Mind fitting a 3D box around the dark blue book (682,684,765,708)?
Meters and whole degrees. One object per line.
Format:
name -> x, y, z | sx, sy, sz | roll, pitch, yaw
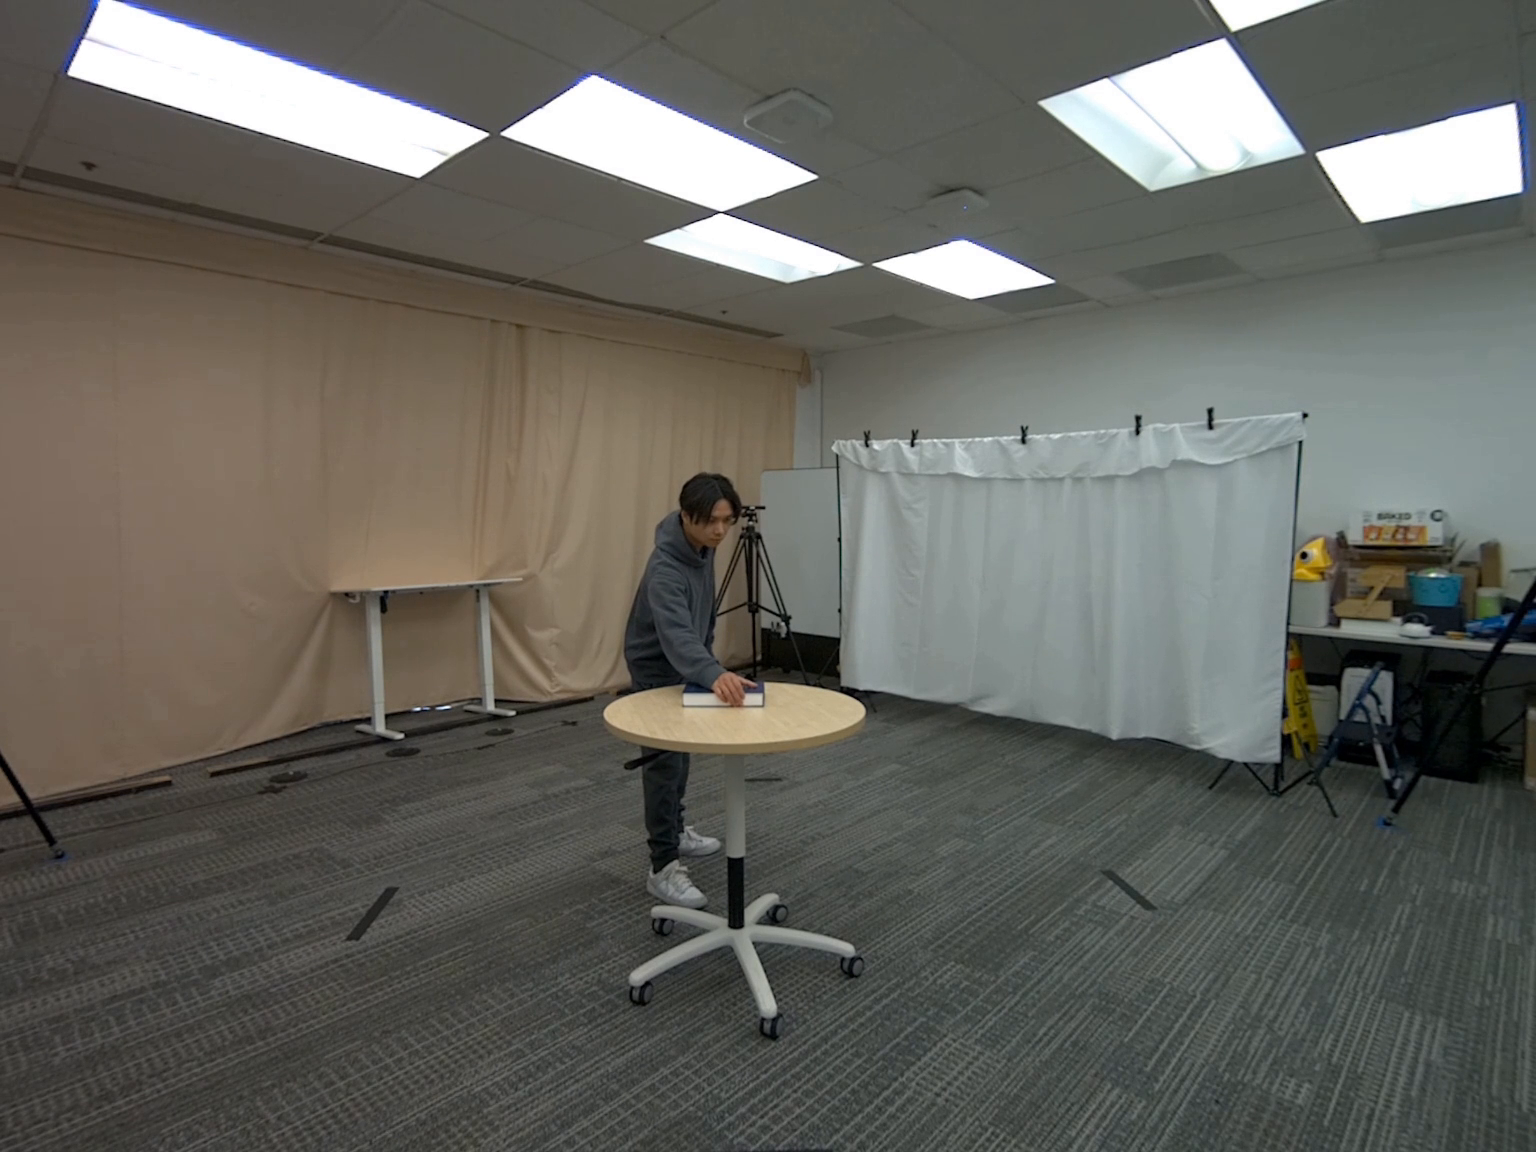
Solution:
dark blue book -> -0.131, 0.365, 2.577 | 0.246, 0.045, 0.163 | 0, 5, 3
